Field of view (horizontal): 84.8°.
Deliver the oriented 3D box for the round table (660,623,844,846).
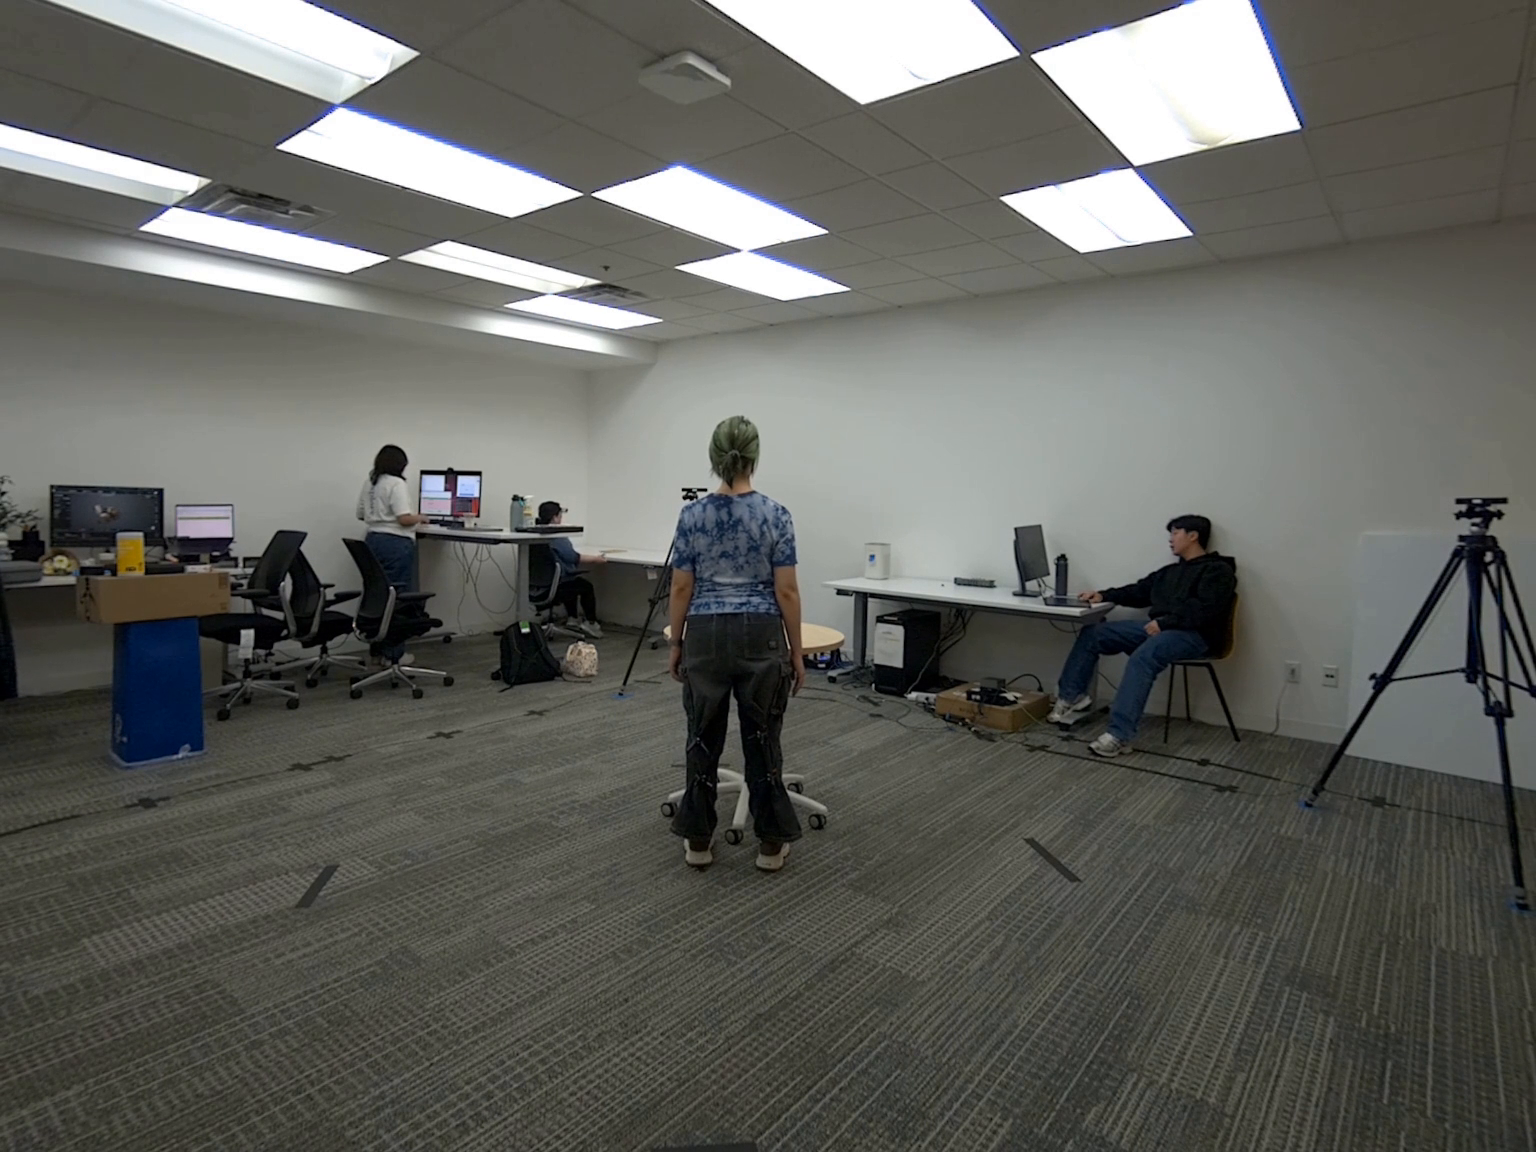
[{"bbox_3d":[-0.068,0.626,3.629,0.784,0.784,0.789,1,4,-2],"label":"round table"}]
